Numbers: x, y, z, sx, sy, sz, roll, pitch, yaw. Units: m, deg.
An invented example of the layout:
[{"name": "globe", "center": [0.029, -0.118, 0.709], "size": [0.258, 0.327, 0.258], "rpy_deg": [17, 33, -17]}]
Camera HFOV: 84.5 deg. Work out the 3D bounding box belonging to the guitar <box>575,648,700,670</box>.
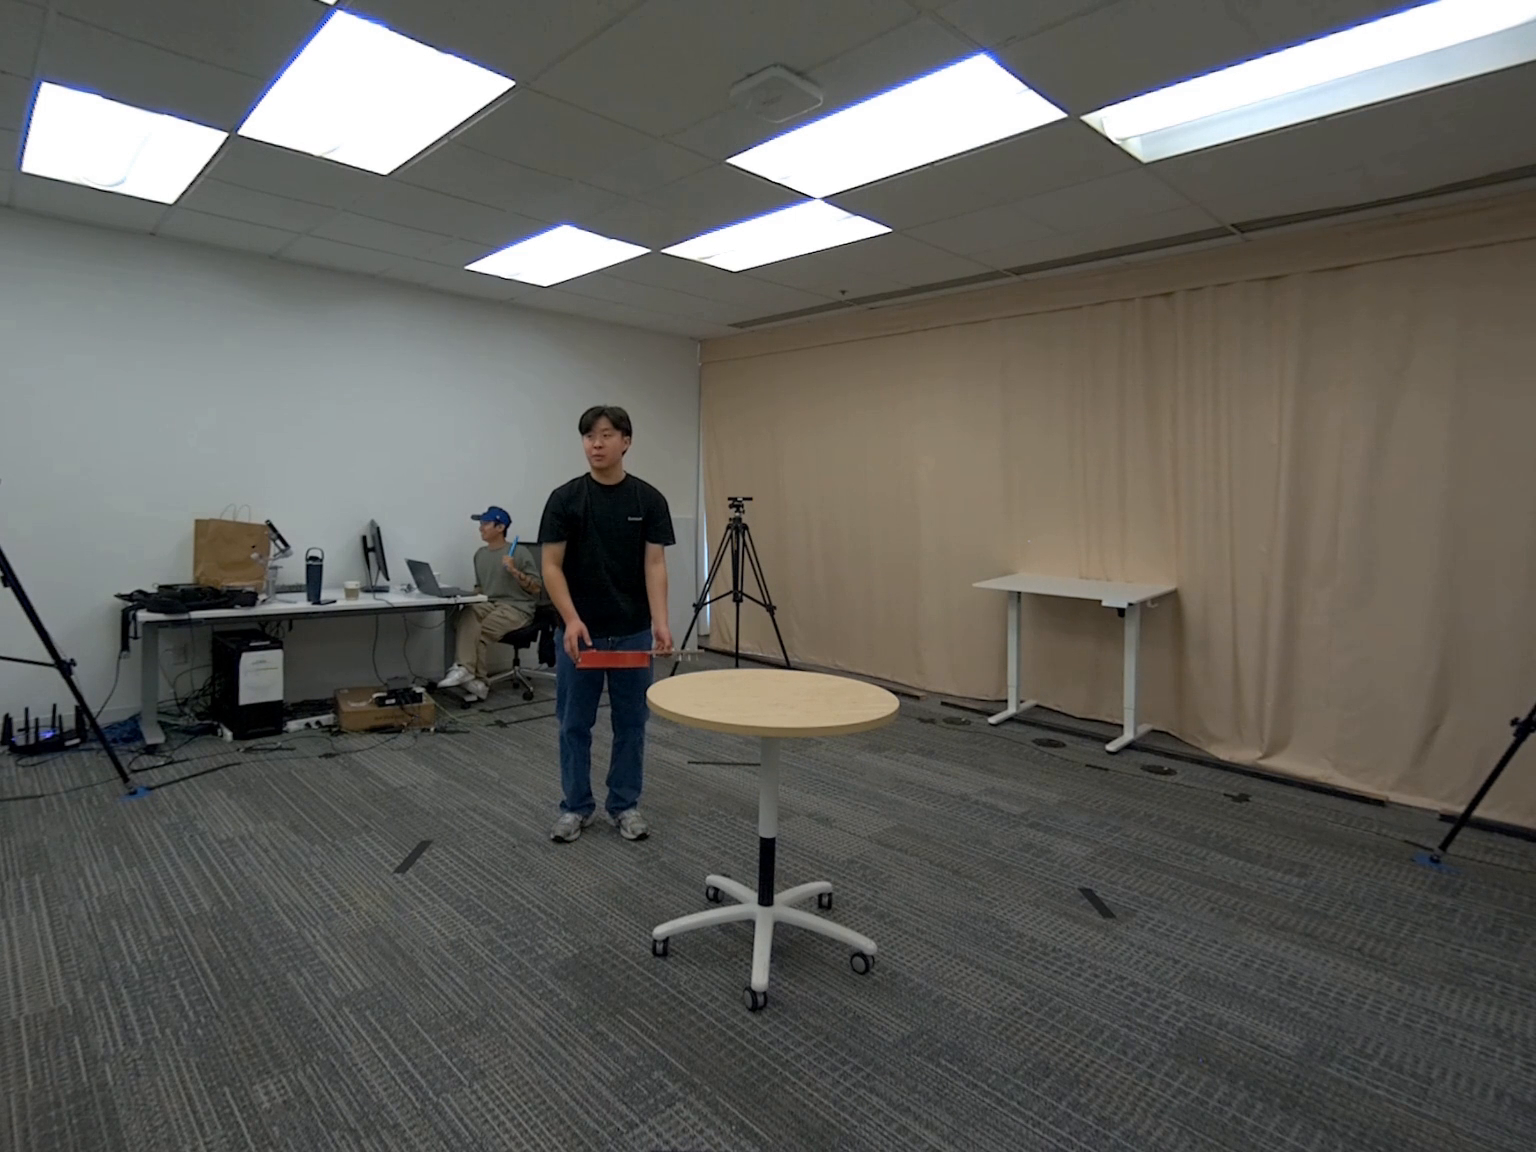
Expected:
[{"name": "guitar", "center": [-0.497, 0.319, 3.224], "size": [0.495, 0.071, 0.193], "rpy_deg": [0, -8, -8]}]
